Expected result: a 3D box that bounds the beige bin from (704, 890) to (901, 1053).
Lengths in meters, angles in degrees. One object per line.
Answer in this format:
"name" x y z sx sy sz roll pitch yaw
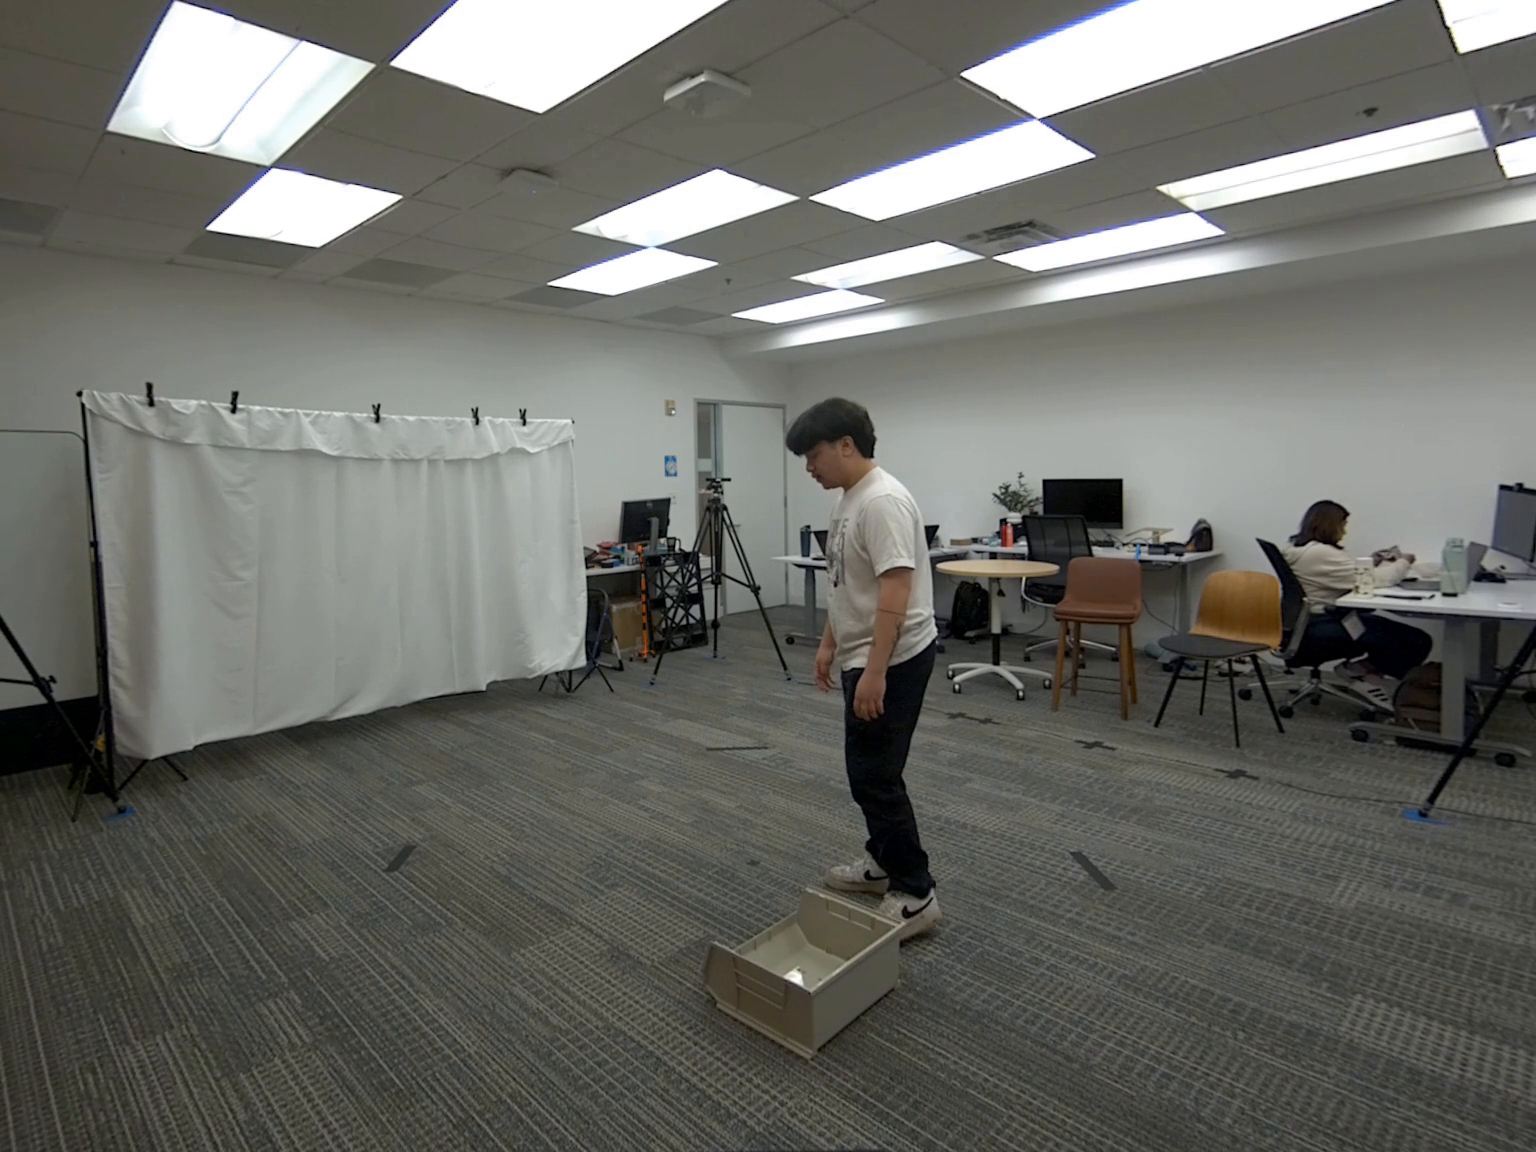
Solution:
"beige bin" 0.105 1.047 2.311 0.389 0.188 0.411 5 8 41
